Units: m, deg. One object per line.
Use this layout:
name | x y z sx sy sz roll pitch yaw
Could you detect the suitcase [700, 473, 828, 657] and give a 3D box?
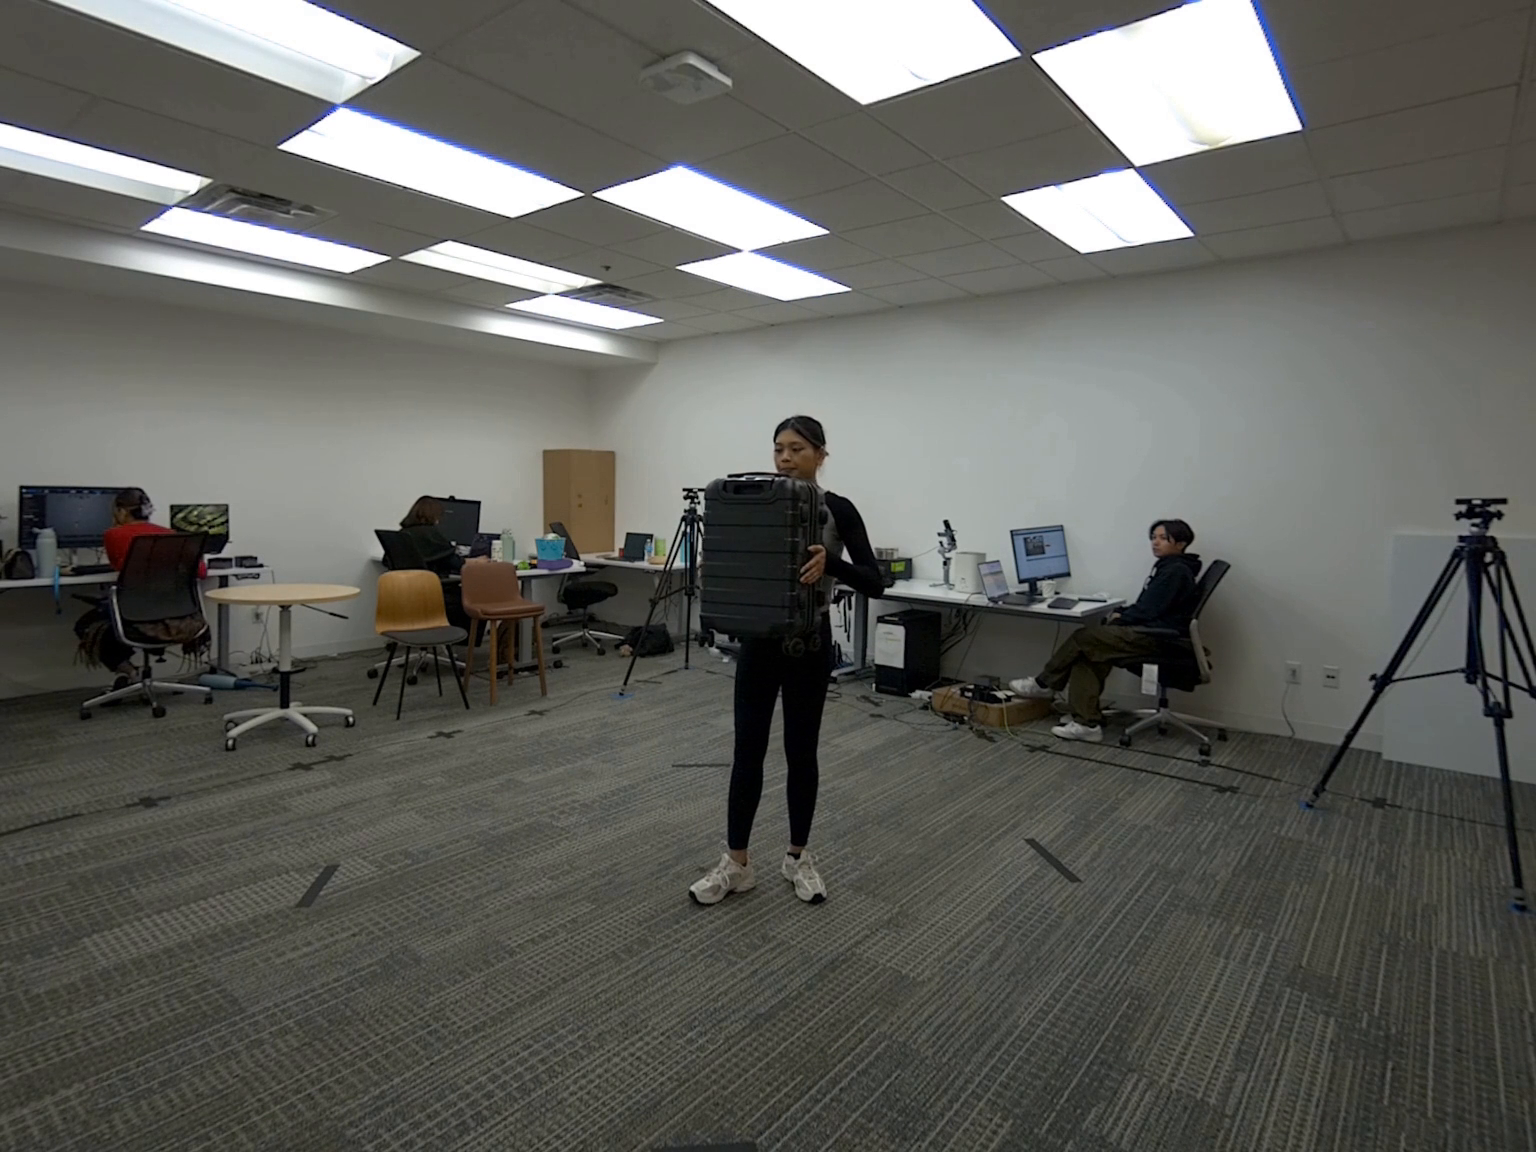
suitcase | -0.027 -0.050 2.695 0.386 0.550 0.241 1 -1 29
